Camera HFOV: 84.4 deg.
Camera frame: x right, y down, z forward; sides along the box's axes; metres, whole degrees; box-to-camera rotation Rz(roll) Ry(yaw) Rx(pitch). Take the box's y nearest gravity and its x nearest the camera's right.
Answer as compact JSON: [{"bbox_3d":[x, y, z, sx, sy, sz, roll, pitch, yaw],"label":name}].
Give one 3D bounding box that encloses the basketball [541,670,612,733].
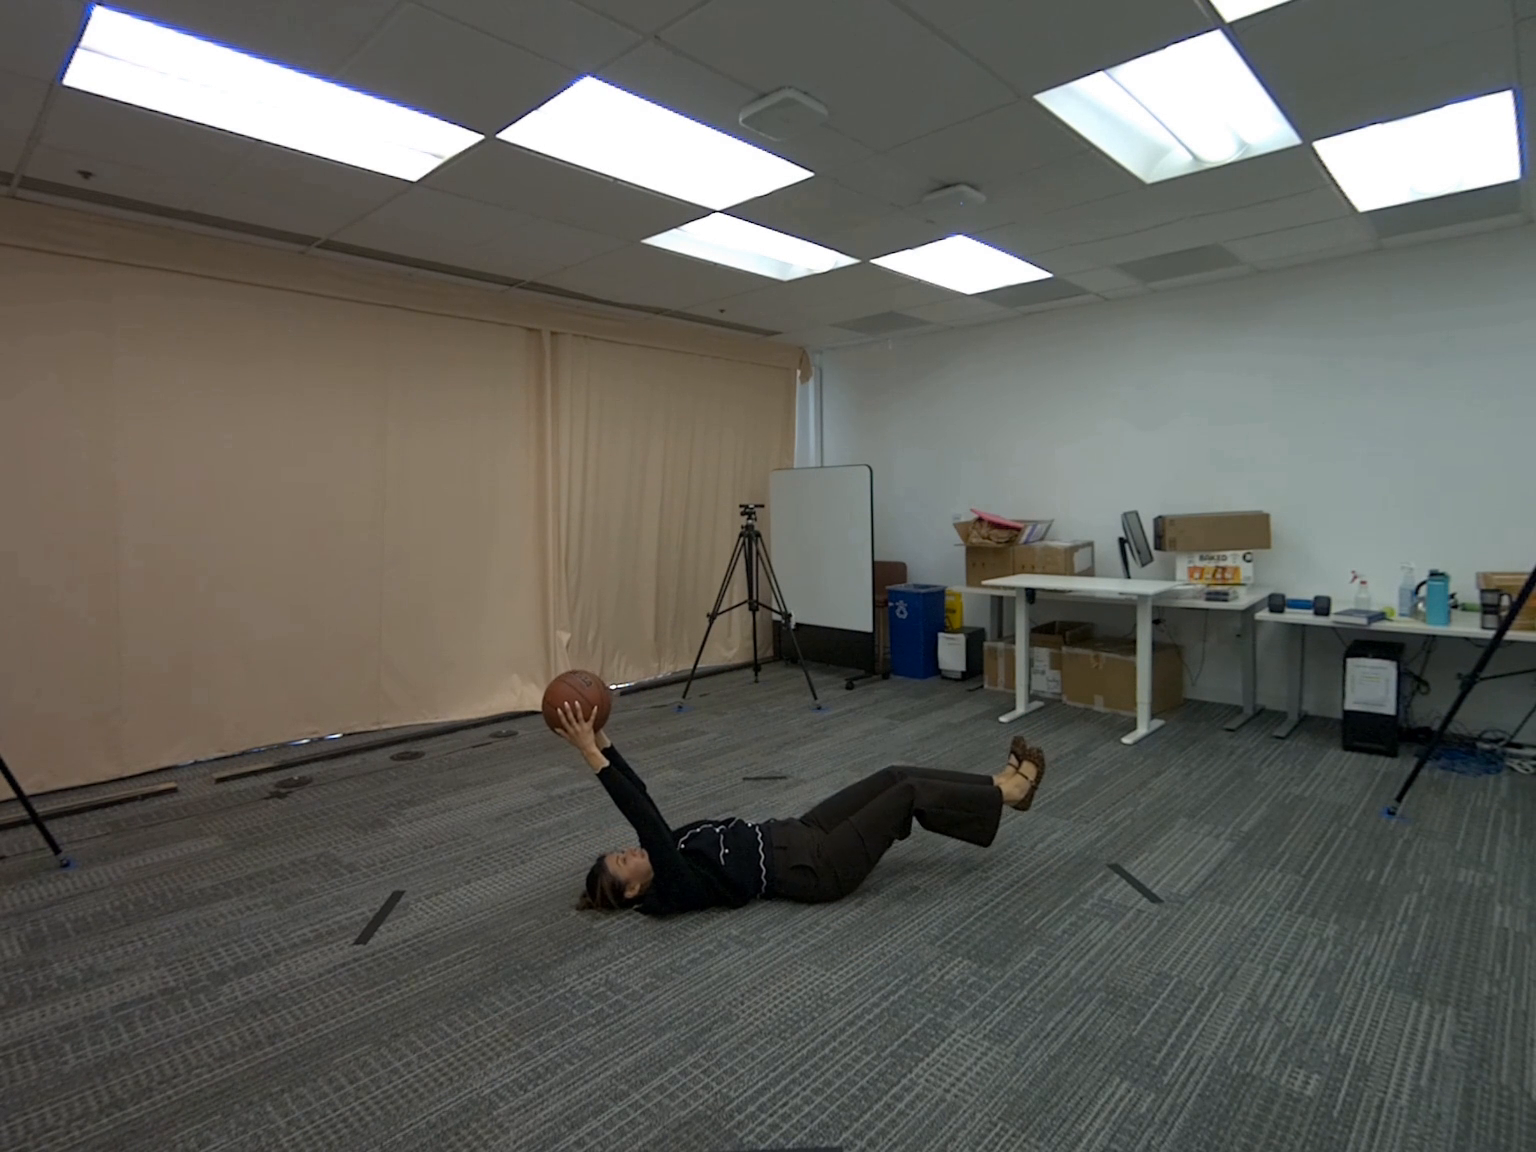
[{"bbox_3d":[-0.650,0.439,2.886,0.236,0.235,0.237,-1,4,-2],"label":"basketball"}]
